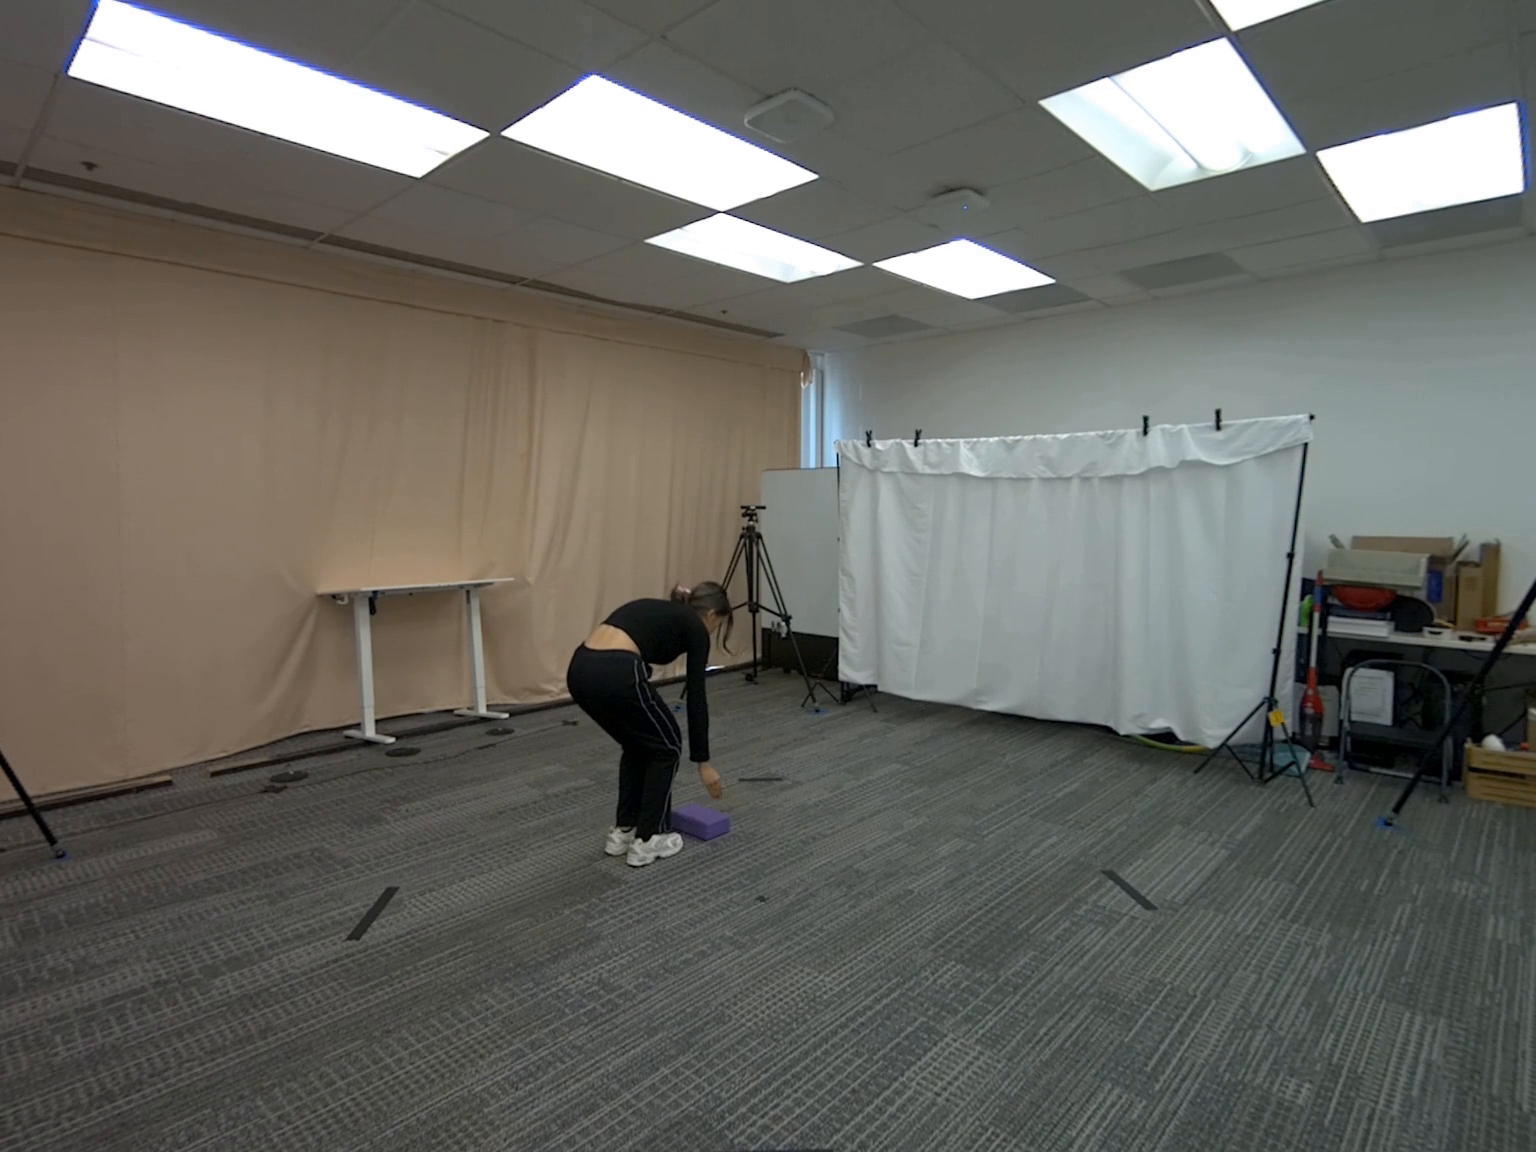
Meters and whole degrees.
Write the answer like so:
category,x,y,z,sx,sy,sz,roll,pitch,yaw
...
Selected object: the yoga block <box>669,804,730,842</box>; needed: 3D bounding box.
category,x,y,z,sx,sy,sz,roll,pitch,yaw
yoga block,-0.296,1.050,3.617,0.237,0.076,0.144,4,5,44
